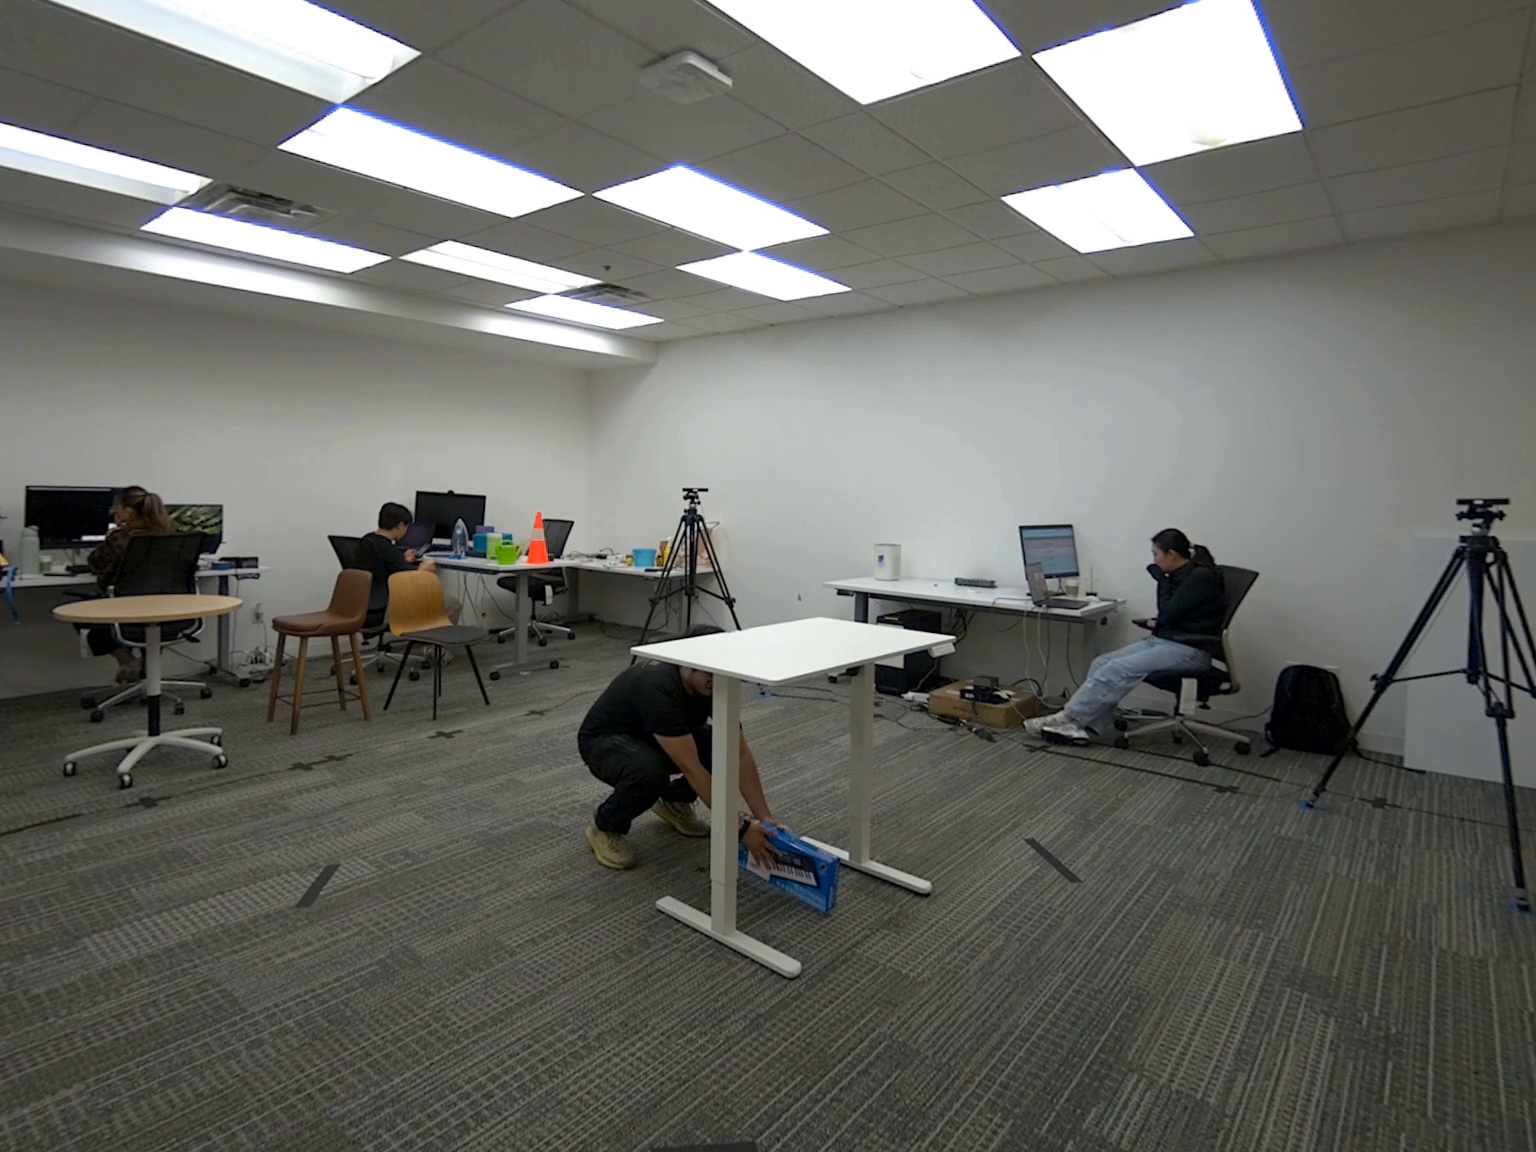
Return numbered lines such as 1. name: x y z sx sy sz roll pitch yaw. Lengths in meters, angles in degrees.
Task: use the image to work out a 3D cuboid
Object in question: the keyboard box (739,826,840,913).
1. keyboard box: 0.039 0.975 2.912 0.453 0.175 0.057 11 9 41
